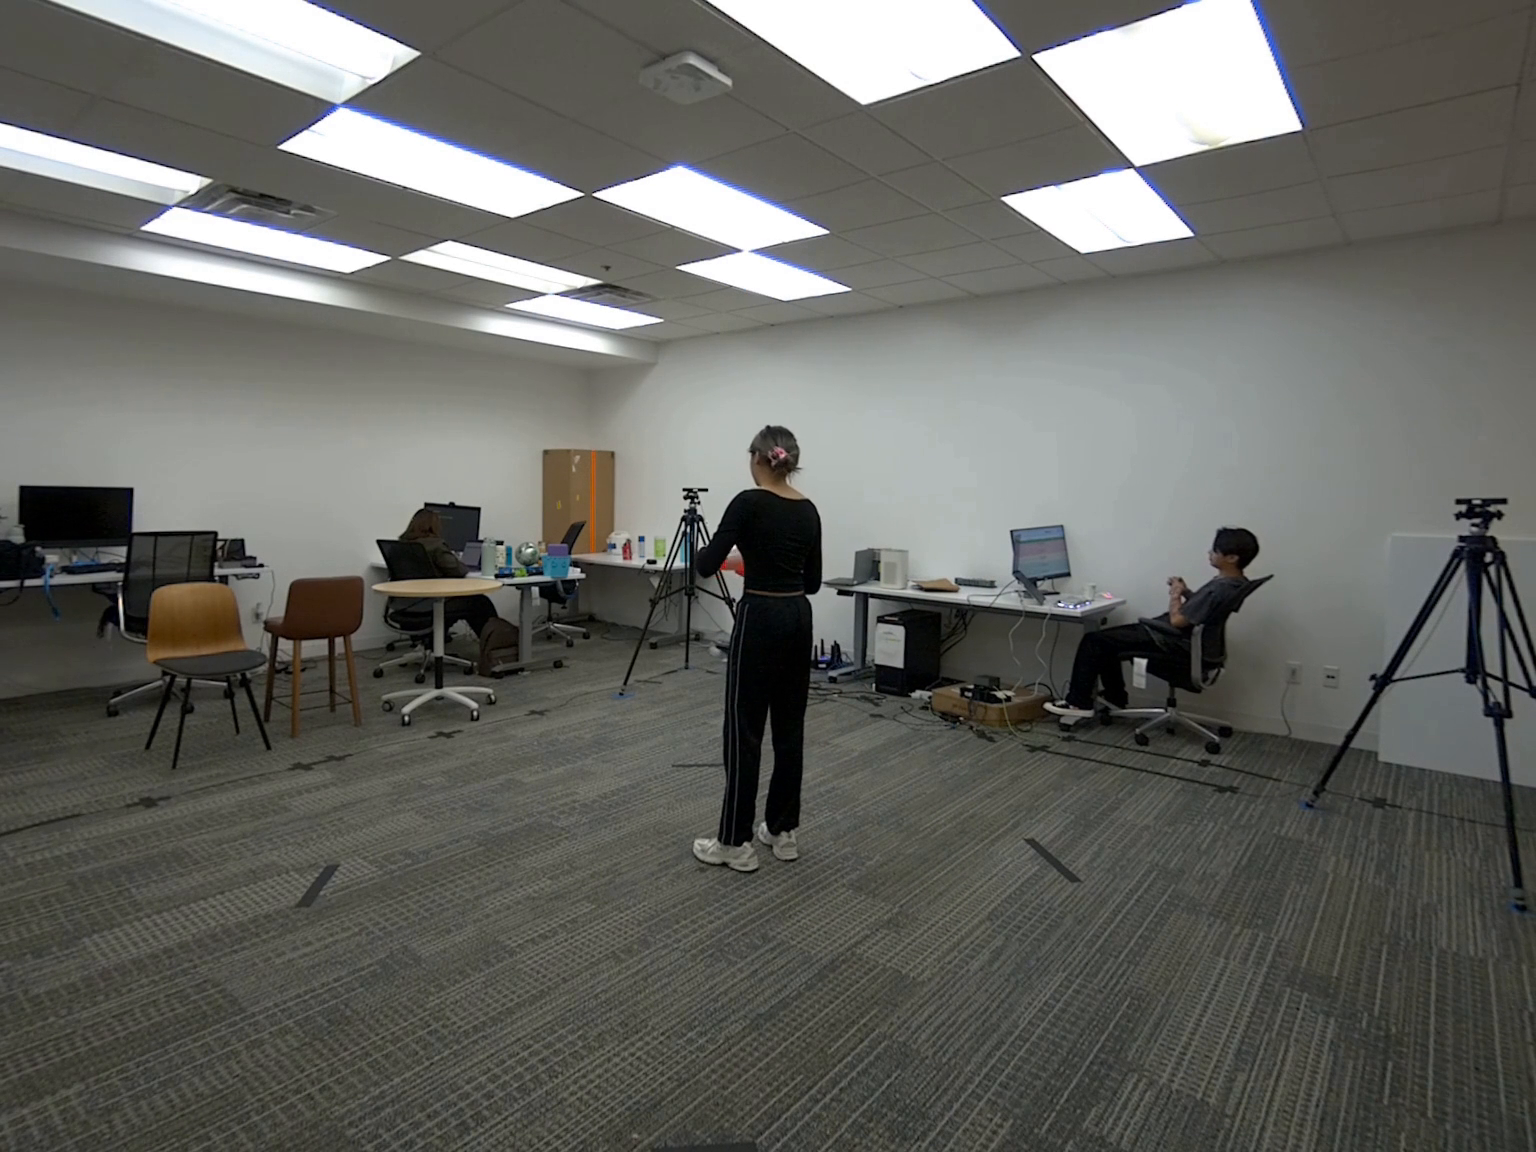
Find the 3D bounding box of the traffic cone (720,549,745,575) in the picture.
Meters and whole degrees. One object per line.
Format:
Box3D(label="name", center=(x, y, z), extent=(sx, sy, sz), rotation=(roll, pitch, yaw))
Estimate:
Box3D(label="traffic cone", center=(-0.165, -0.067, 3.492), extent=(0.210, 0.203, 0.374), rotation=(11, 14, 35))
